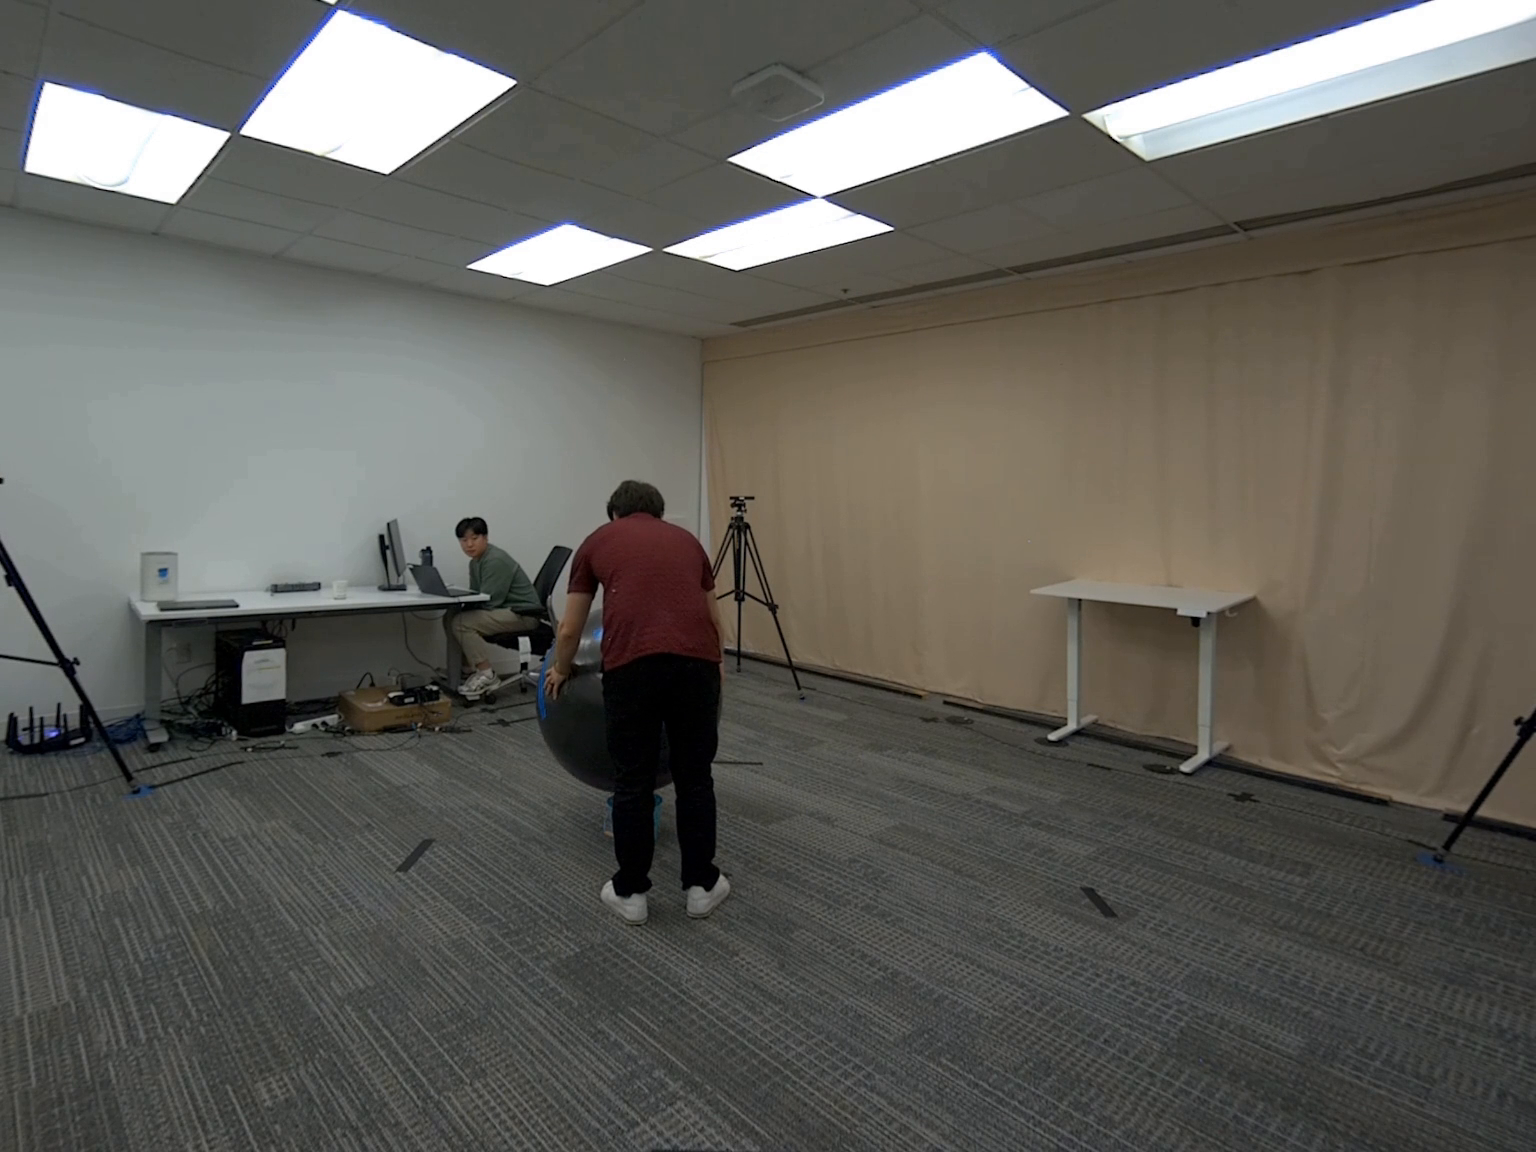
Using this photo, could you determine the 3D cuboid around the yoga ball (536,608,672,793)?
[{"bbox_3d":[-0.567,0.499,3.438,0.757,0.756,0.761,1,4,-1],"label":"yoga ball"}]
